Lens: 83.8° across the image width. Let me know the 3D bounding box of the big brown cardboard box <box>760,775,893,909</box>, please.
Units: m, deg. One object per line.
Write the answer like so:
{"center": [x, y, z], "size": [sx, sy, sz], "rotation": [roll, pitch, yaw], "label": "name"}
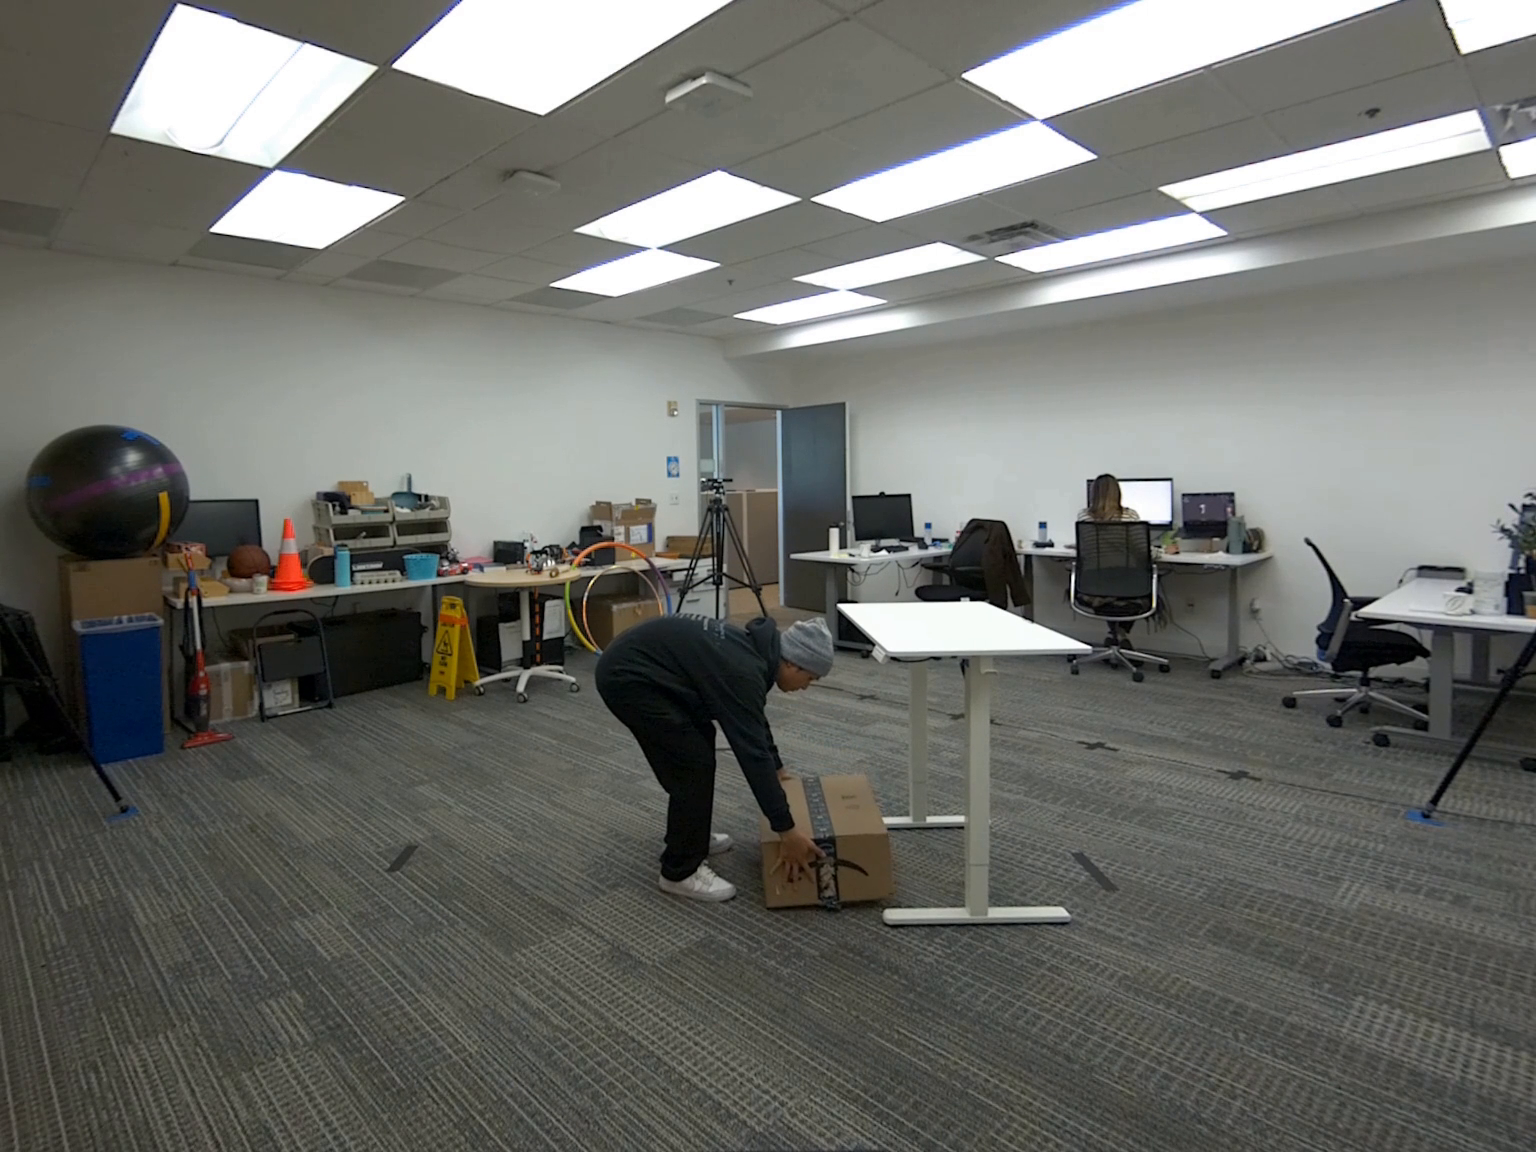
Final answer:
{"center": [0.182, 0.915, 3.017], "size": [0.418, 0.232, 0.592], "rotation": [-5, 7, 0], "label": "big brown cardboard box"}
